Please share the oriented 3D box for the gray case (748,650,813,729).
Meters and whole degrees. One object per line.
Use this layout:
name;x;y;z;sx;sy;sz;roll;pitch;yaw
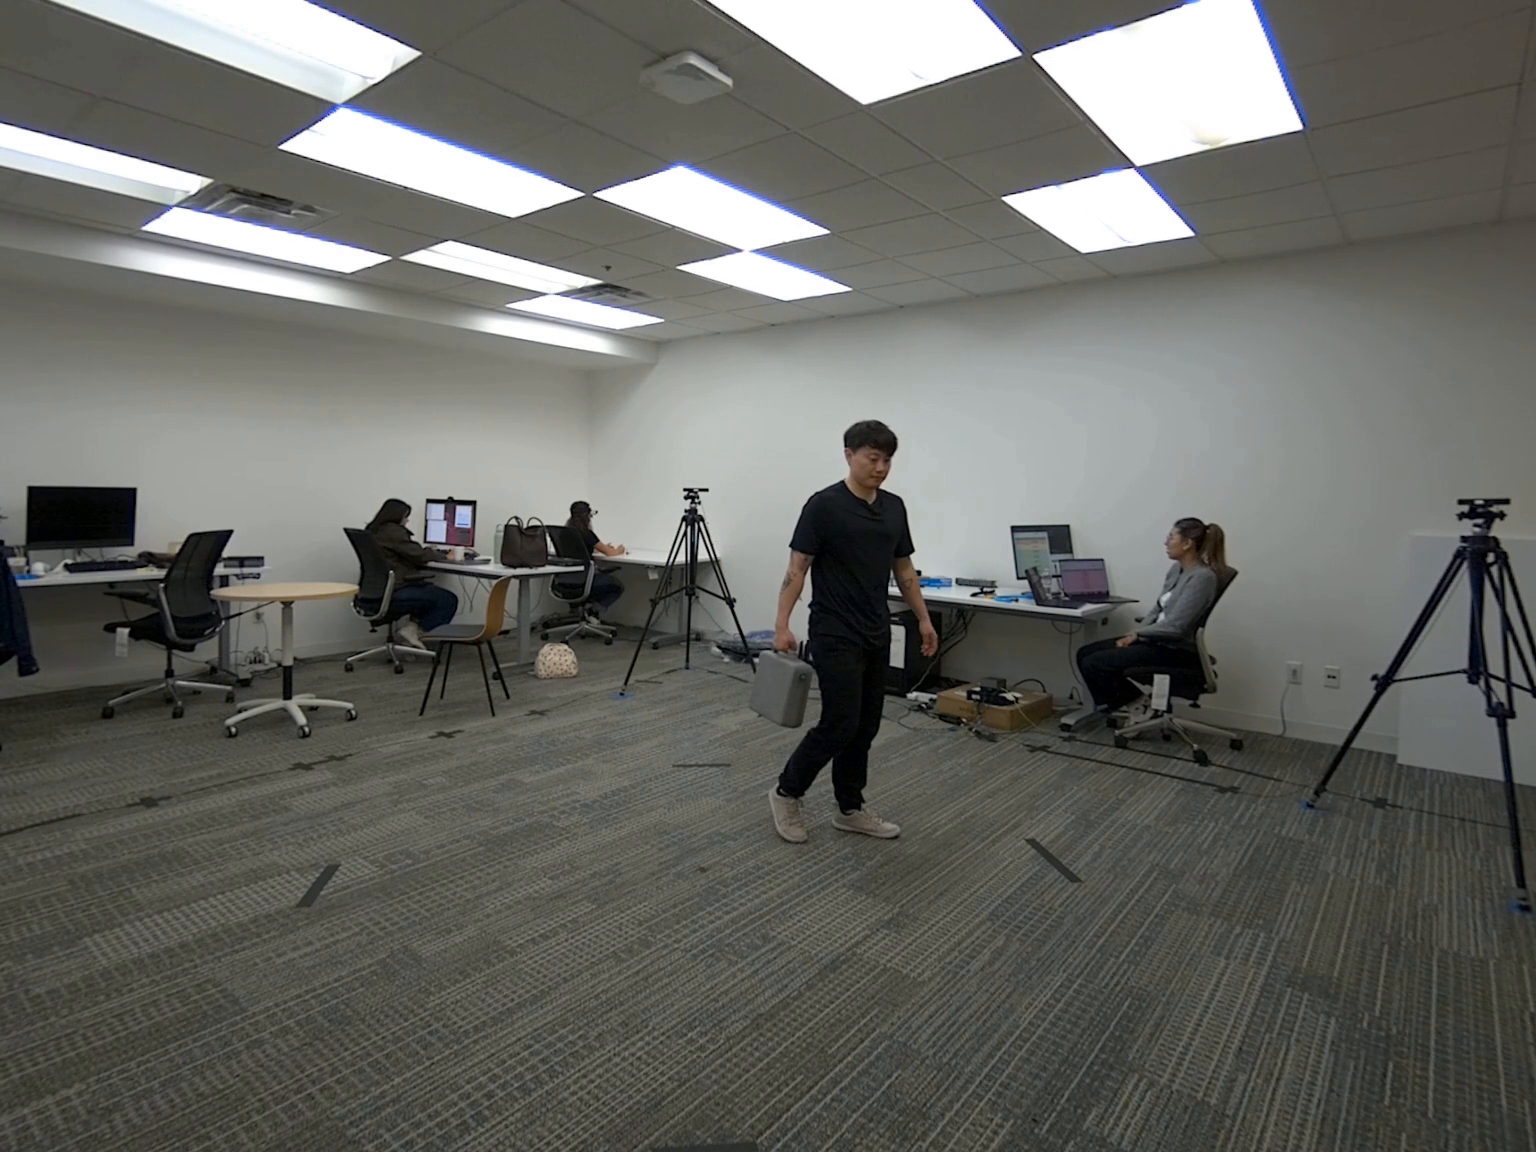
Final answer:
gray case;0.043;0.427;3.319;0.101;0.260;0.265;9;2;-33
